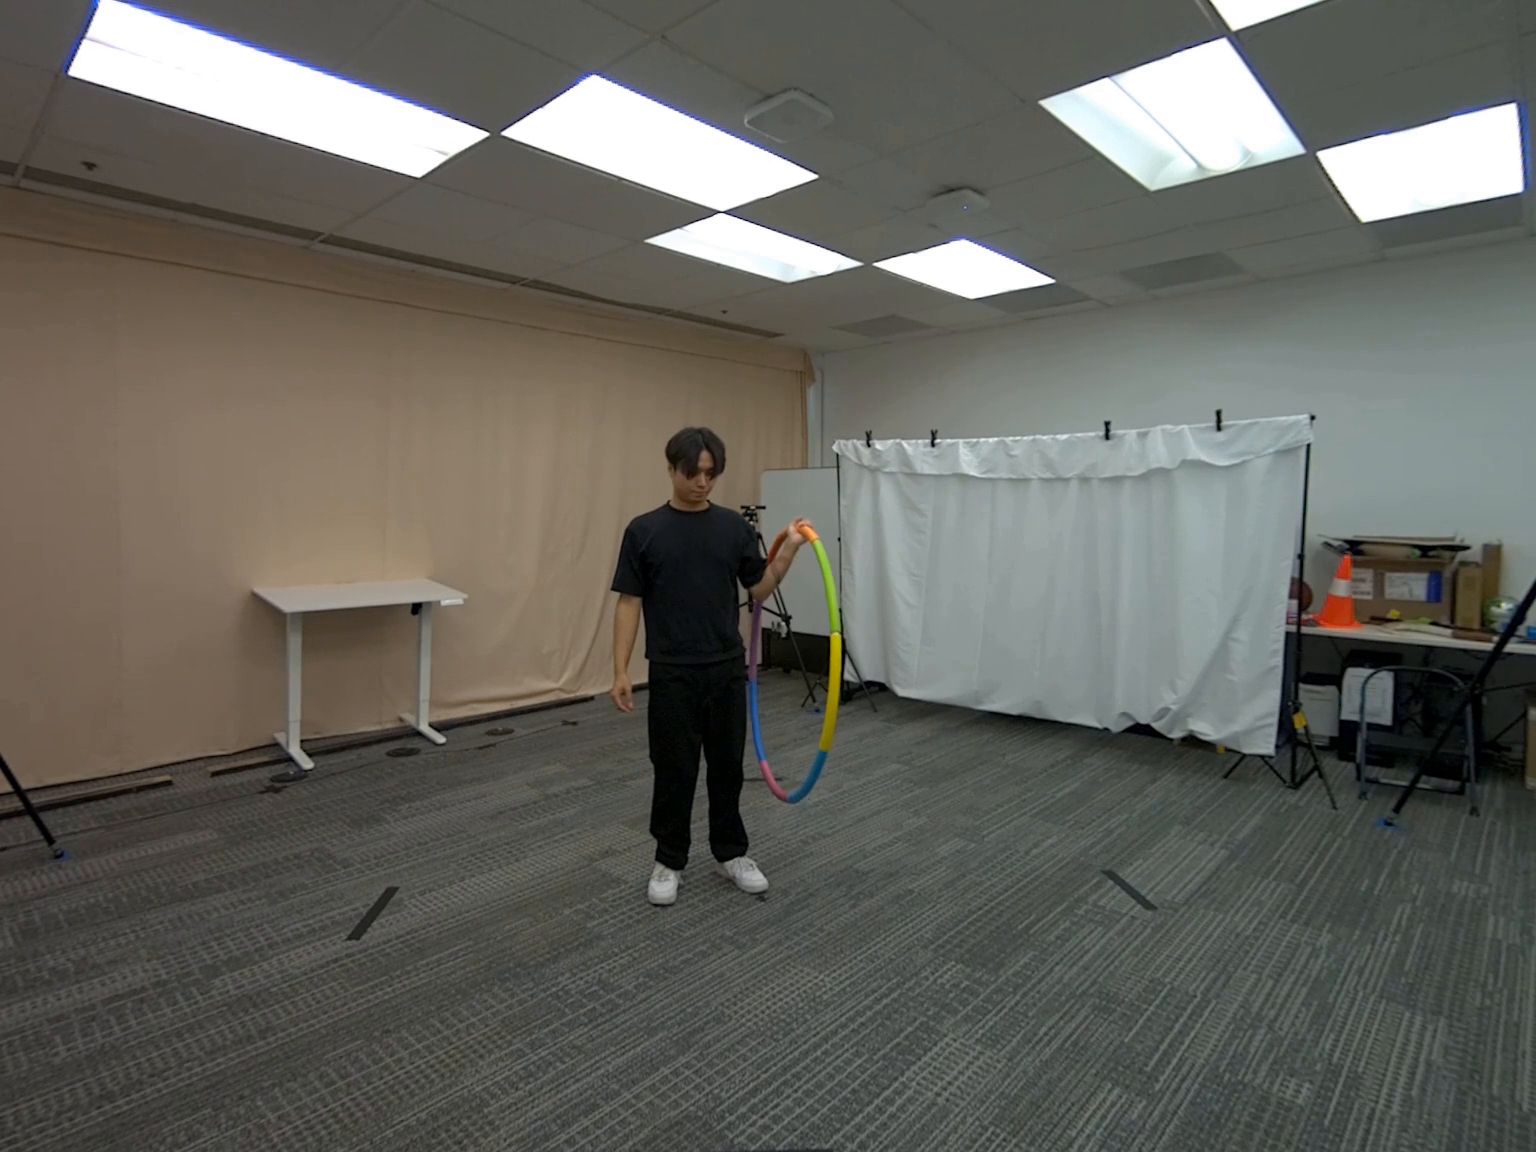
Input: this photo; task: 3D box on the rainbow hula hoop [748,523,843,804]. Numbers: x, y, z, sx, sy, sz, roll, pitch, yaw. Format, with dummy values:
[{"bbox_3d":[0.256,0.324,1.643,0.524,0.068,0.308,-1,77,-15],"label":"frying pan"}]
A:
[{"bbox_3d":[0.080,0.302,3.054,0.035,0.977,0.995,5,2,-16],"label":"rainbow hula hoop"}]
